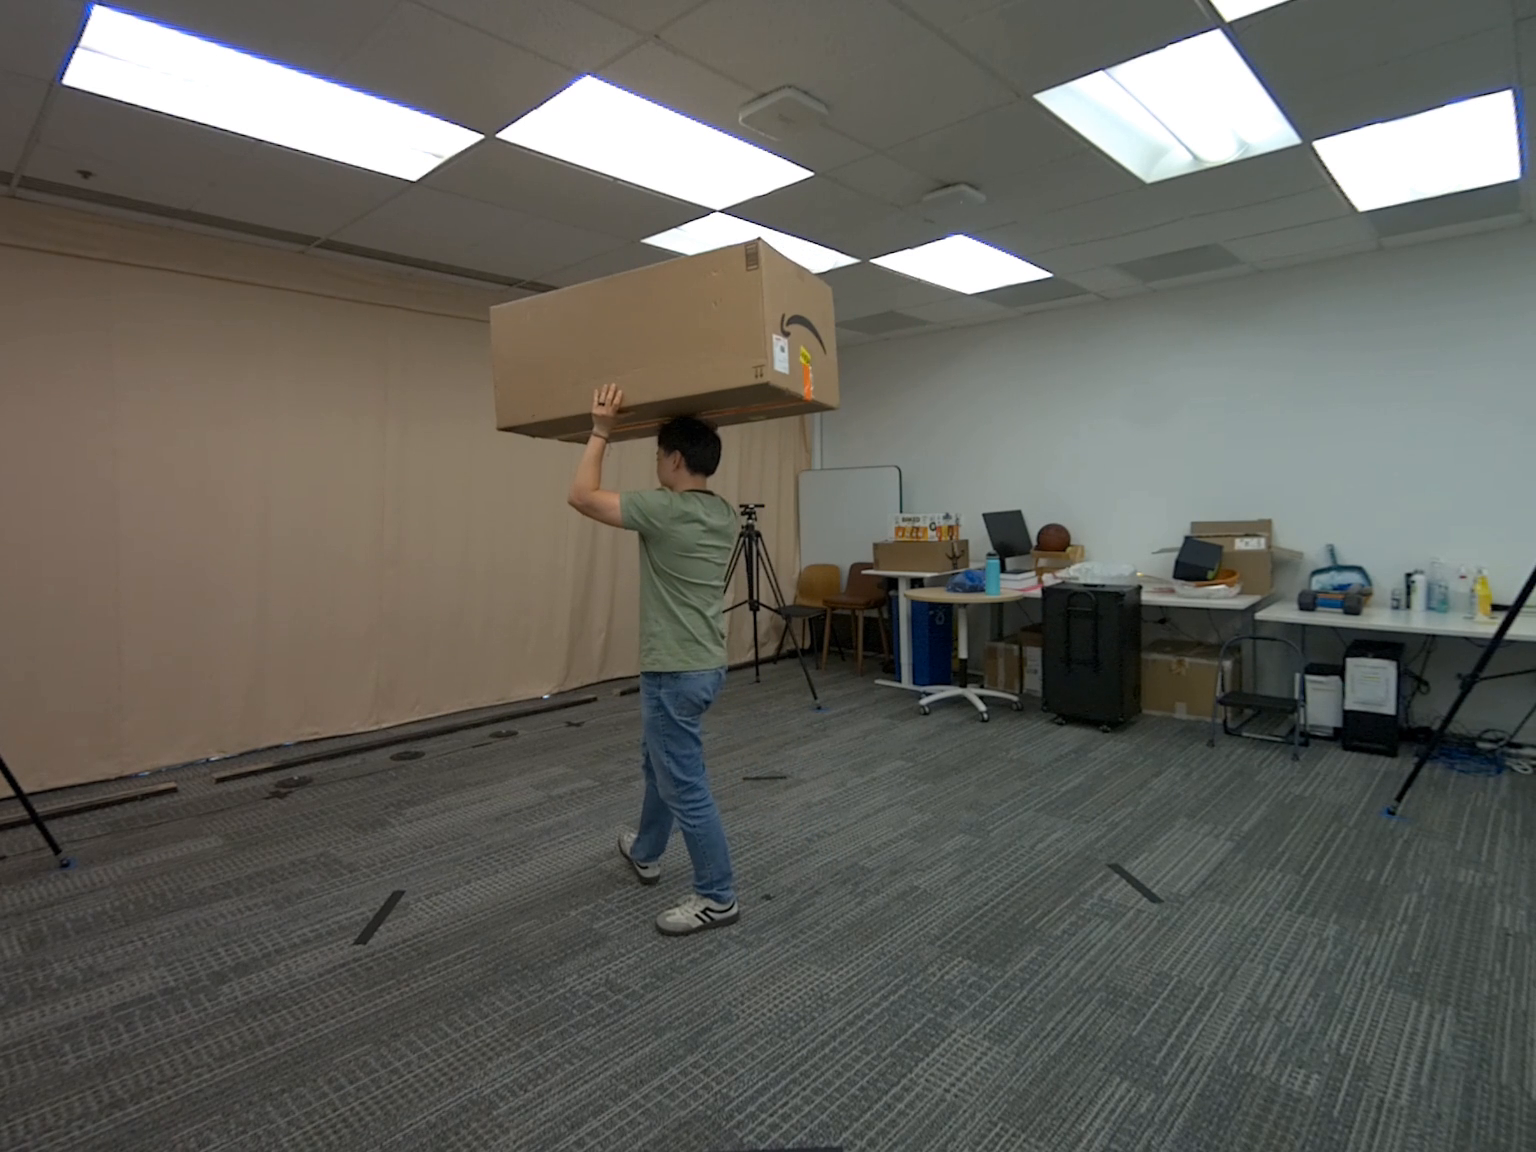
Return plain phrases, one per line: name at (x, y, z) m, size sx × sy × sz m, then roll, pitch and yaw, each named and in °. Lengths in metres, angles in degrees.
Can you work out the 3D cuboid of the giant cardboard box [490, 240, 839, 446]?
giant cardboard box at (-0.346, -0.738, 2.869) m, size 1.052 × 0.426 × 0.563 m, roll -3°, pitch 1°, yaw 27°
